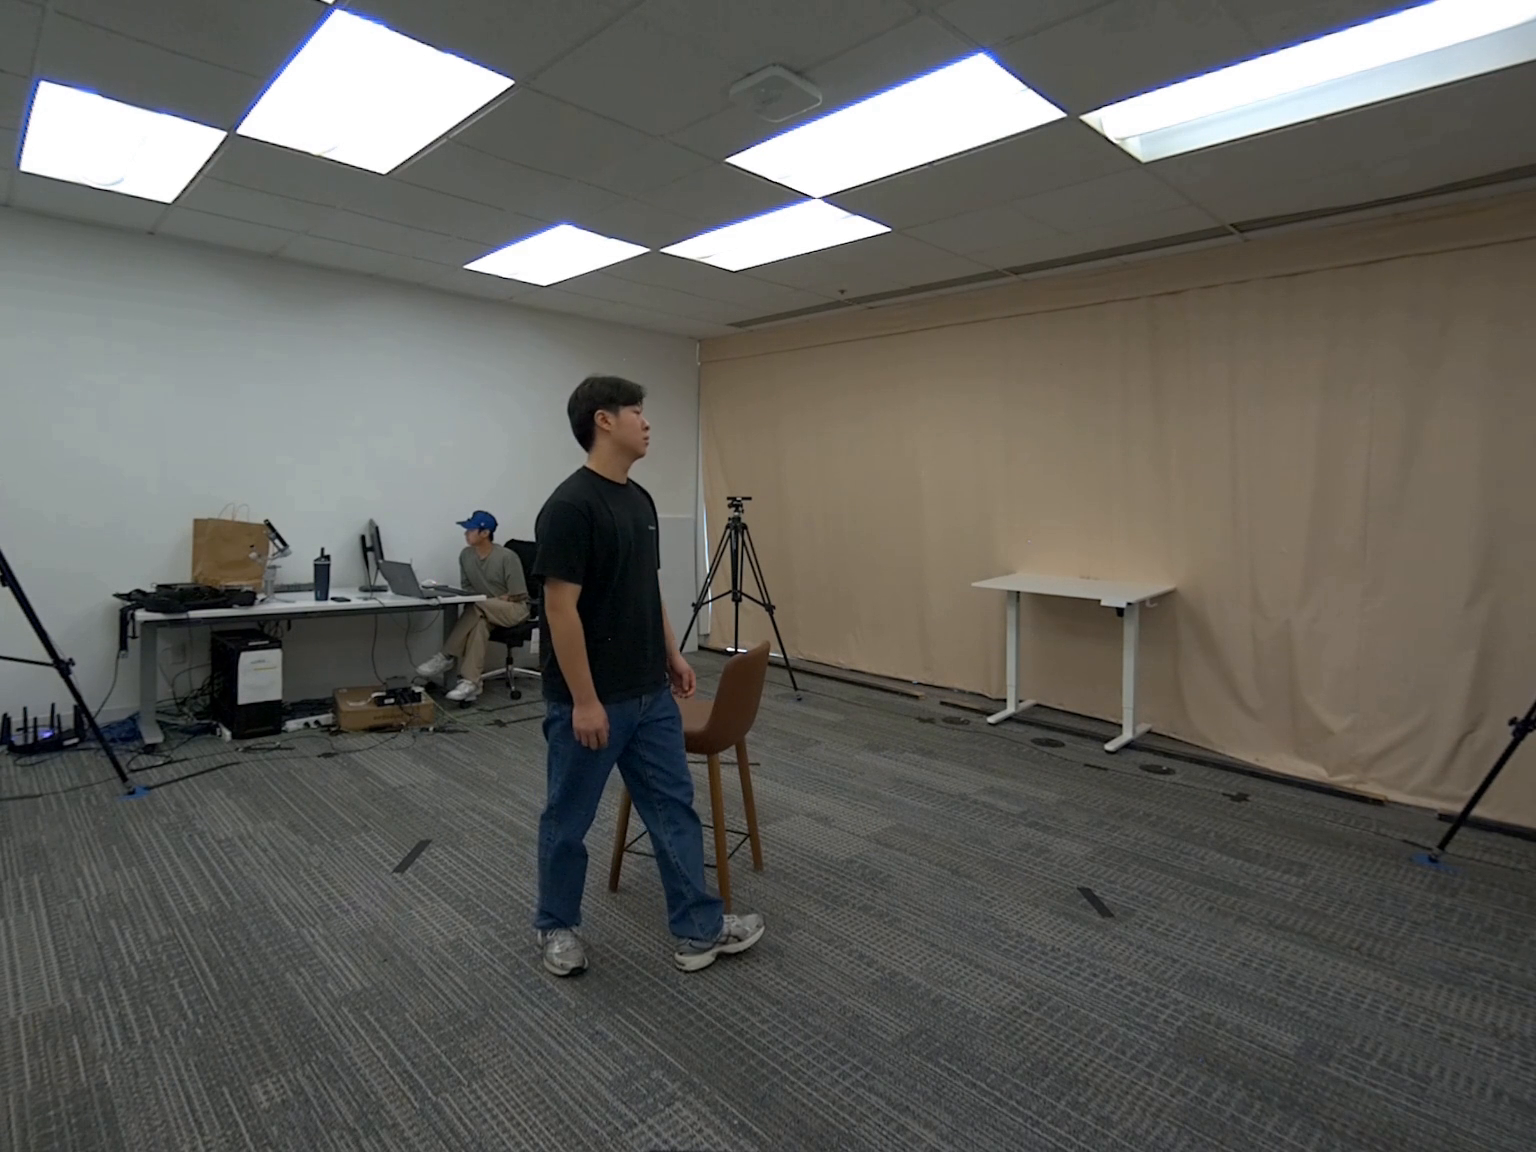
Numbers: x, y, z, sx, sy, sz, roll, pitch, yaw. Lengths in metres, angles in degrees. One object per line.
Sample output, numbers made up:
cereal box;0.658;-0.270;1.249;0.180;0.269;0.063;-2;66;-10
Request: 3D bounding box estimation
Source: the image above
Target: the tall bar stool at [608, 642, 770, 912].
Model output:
tall bar stool;-0.274;0.678;3.042;0.476;0.887;0.450;4;5;21
